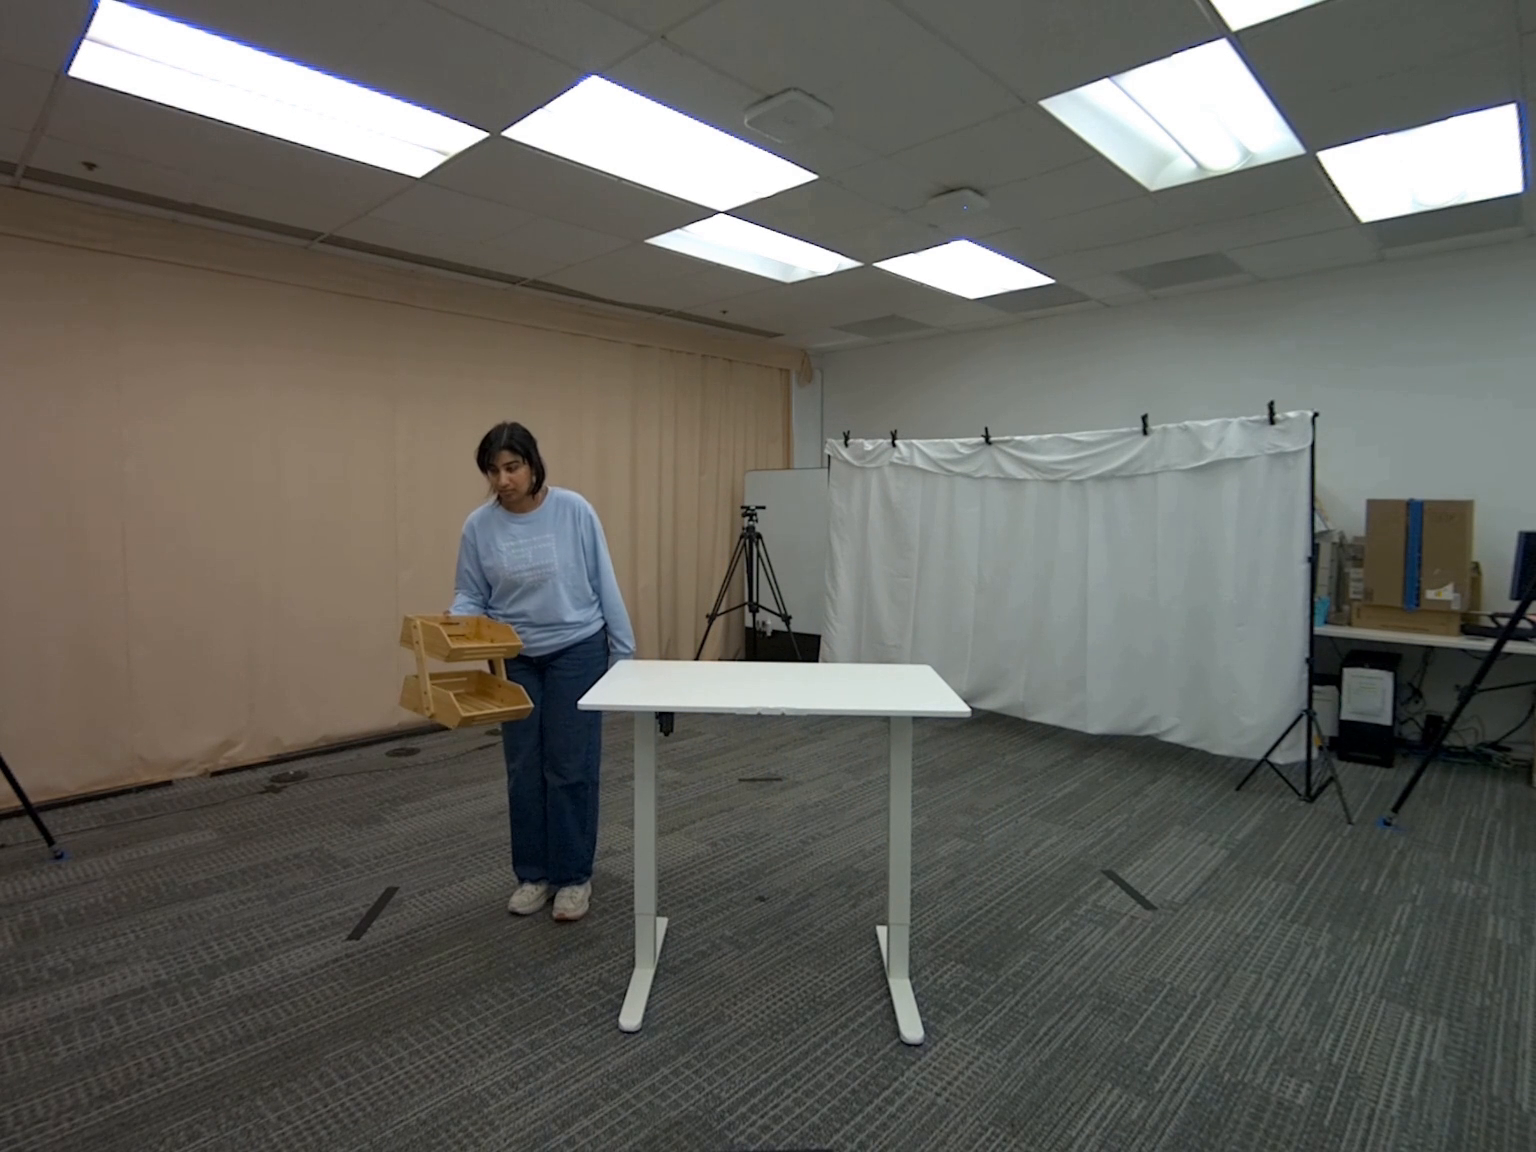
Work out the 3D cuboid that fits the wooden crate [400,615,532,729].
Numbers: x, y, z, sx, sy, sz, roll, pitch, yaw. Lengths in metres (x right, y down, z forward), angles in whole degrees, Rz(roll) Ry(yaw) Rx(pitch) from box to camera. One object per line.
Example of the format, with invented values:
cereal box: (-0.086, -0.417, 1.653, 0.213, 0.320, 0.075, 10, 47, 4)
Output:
wooden crate: (-0.889, 0.275, 2.538, 0.311, 0.273, 0.315, 14, 3, 27)
